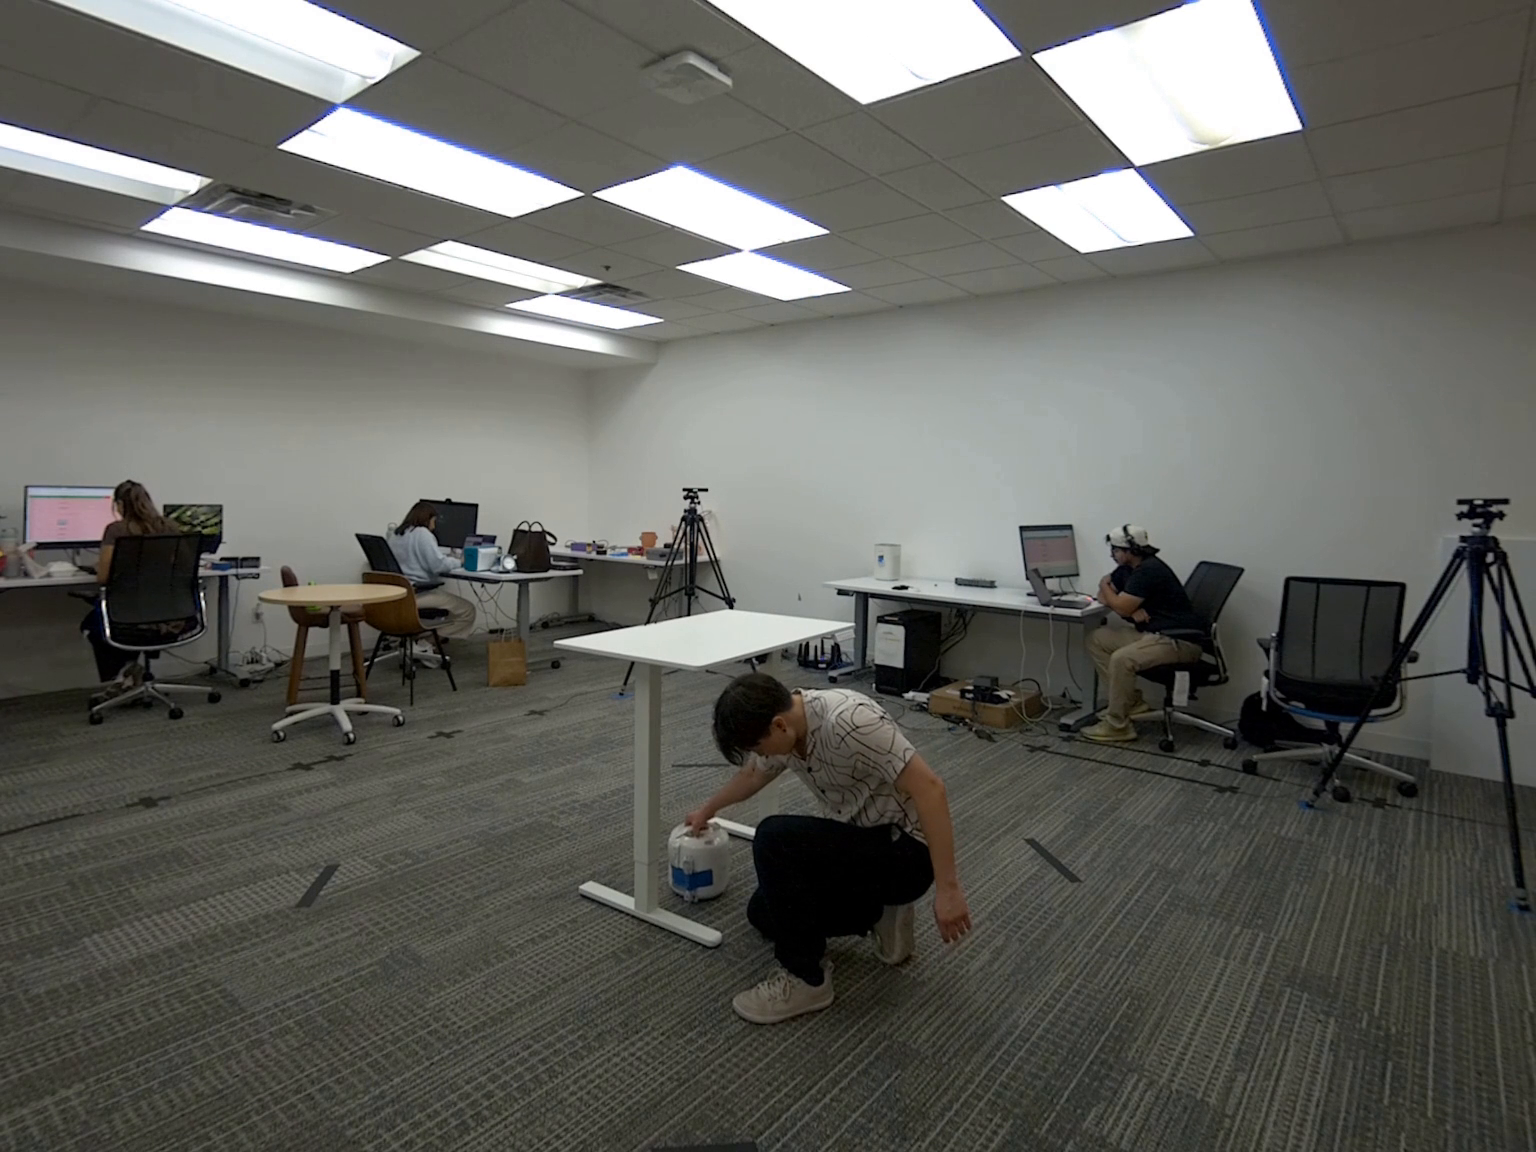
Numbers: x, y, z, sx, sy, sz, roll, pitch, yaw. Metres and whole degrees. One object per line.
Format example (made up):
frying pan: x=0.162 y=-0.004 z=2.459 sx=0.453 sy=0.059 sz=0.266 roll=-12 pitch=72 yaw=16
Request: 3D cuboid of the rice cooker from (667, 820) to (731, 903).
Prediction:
rice cooker: x=-0.247 y=0.963 z=2.943 sx=0.214 sy=0.232 sz=0.224 roll=0 pitch=6 yaw=-31
